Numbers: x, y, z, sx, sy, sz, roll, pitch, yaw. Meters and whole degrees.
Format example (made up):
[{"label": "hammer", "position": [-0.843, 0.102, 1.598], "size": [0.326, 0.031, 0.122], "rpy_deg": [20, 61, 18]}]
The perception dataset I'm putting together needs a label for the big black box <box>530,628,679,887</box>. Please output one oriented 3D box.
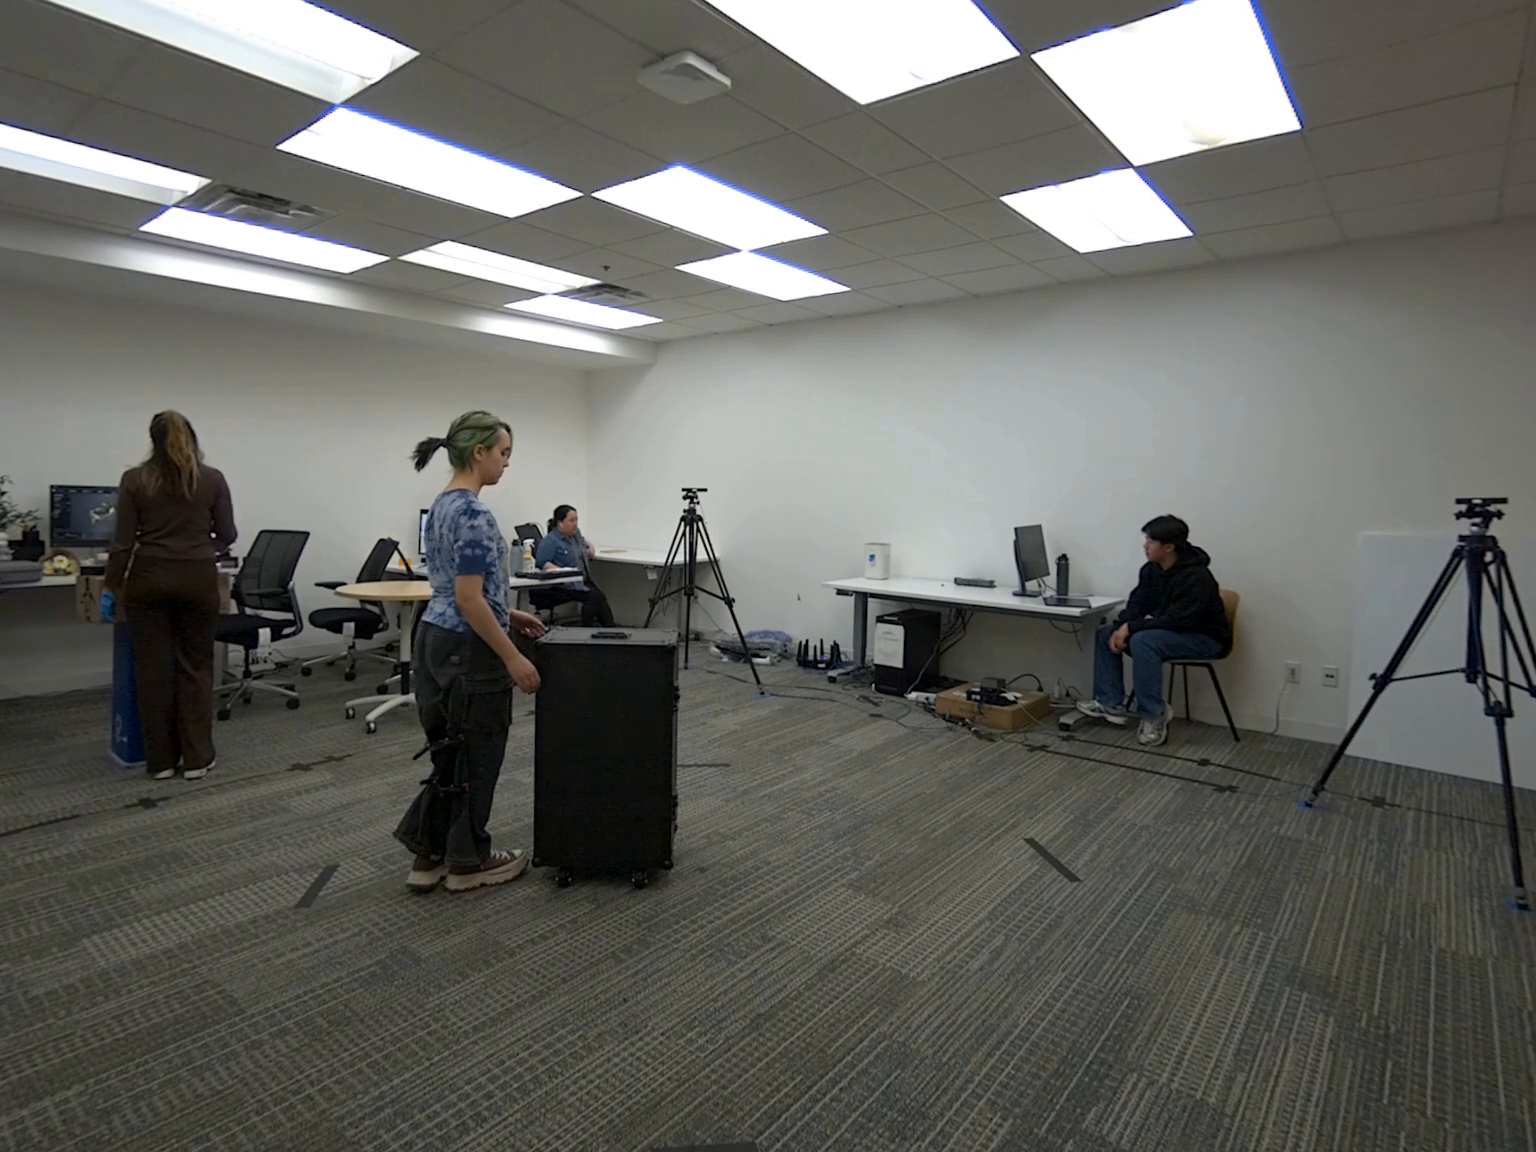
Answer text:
[{"label": "big black box", "position": [-0.593, 0.645, 3.117], "size": [0.521, 0.861, 0.396], "rpy_deg": [1, 1, 0]}]
